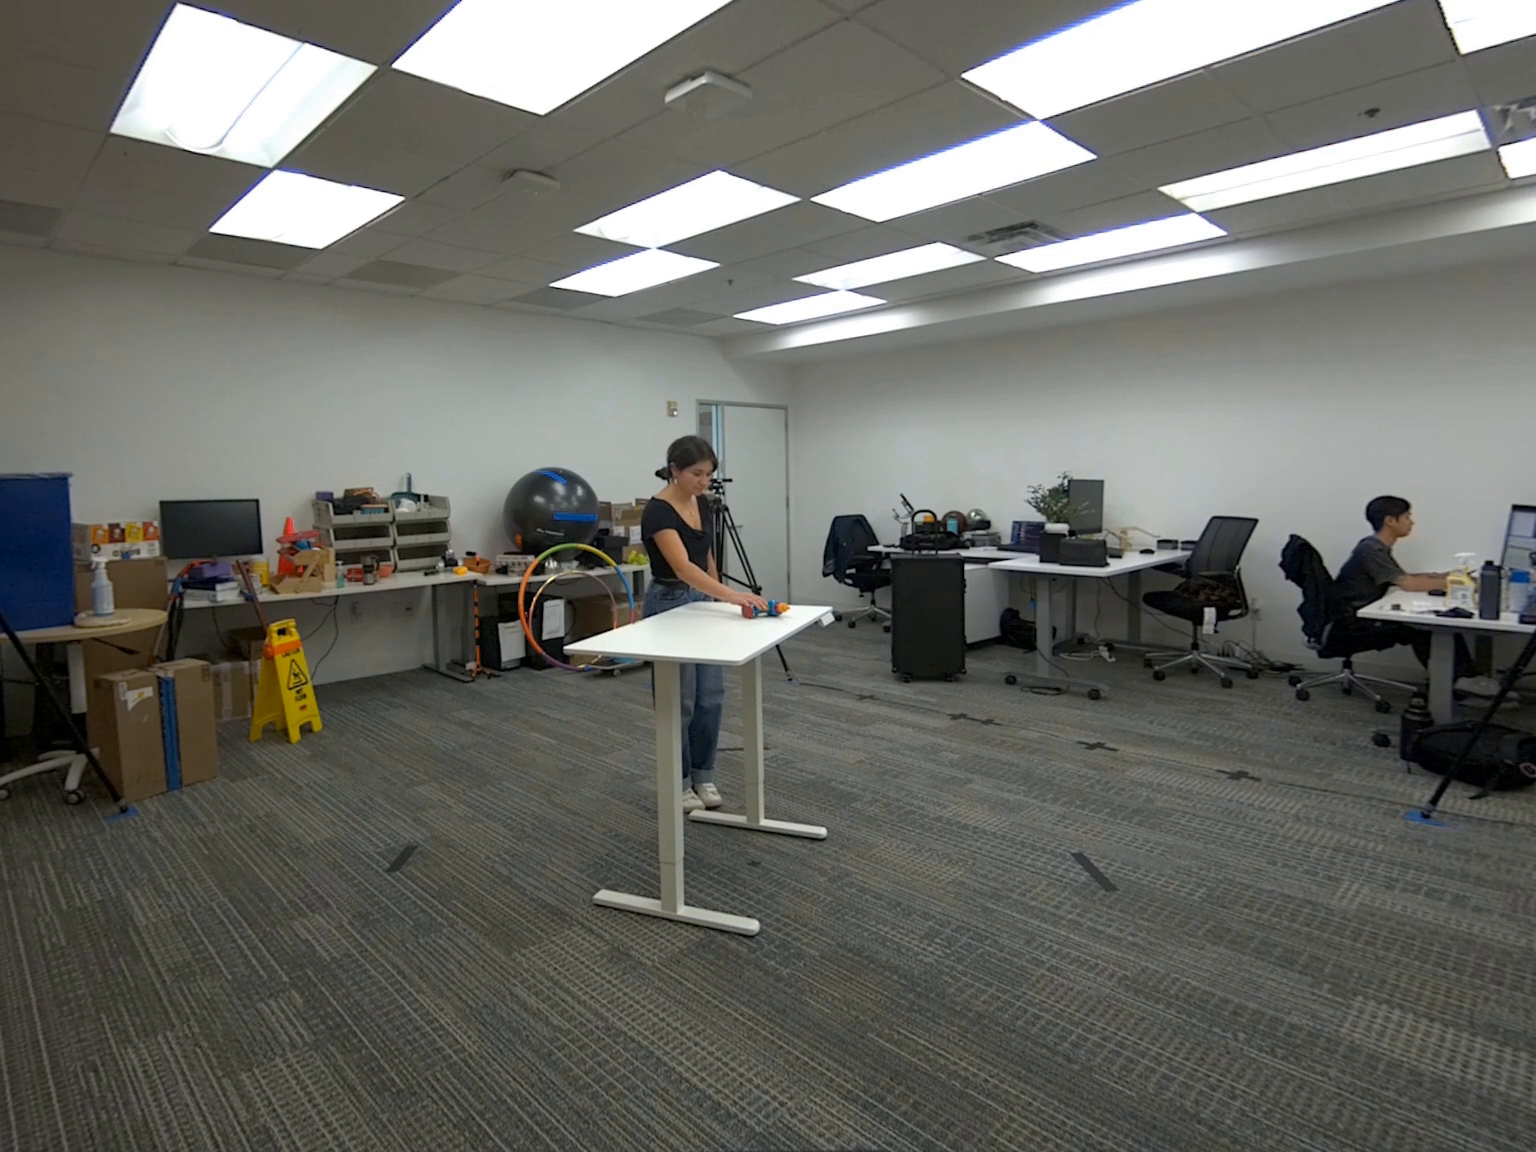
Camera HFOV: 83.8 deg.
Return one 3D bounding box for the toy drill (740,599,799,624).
[{"bbox_3d":[0.002,0.127,3.142,0.143,0.061,0.174,-4,4,-27],"label":"toy drill"}]
